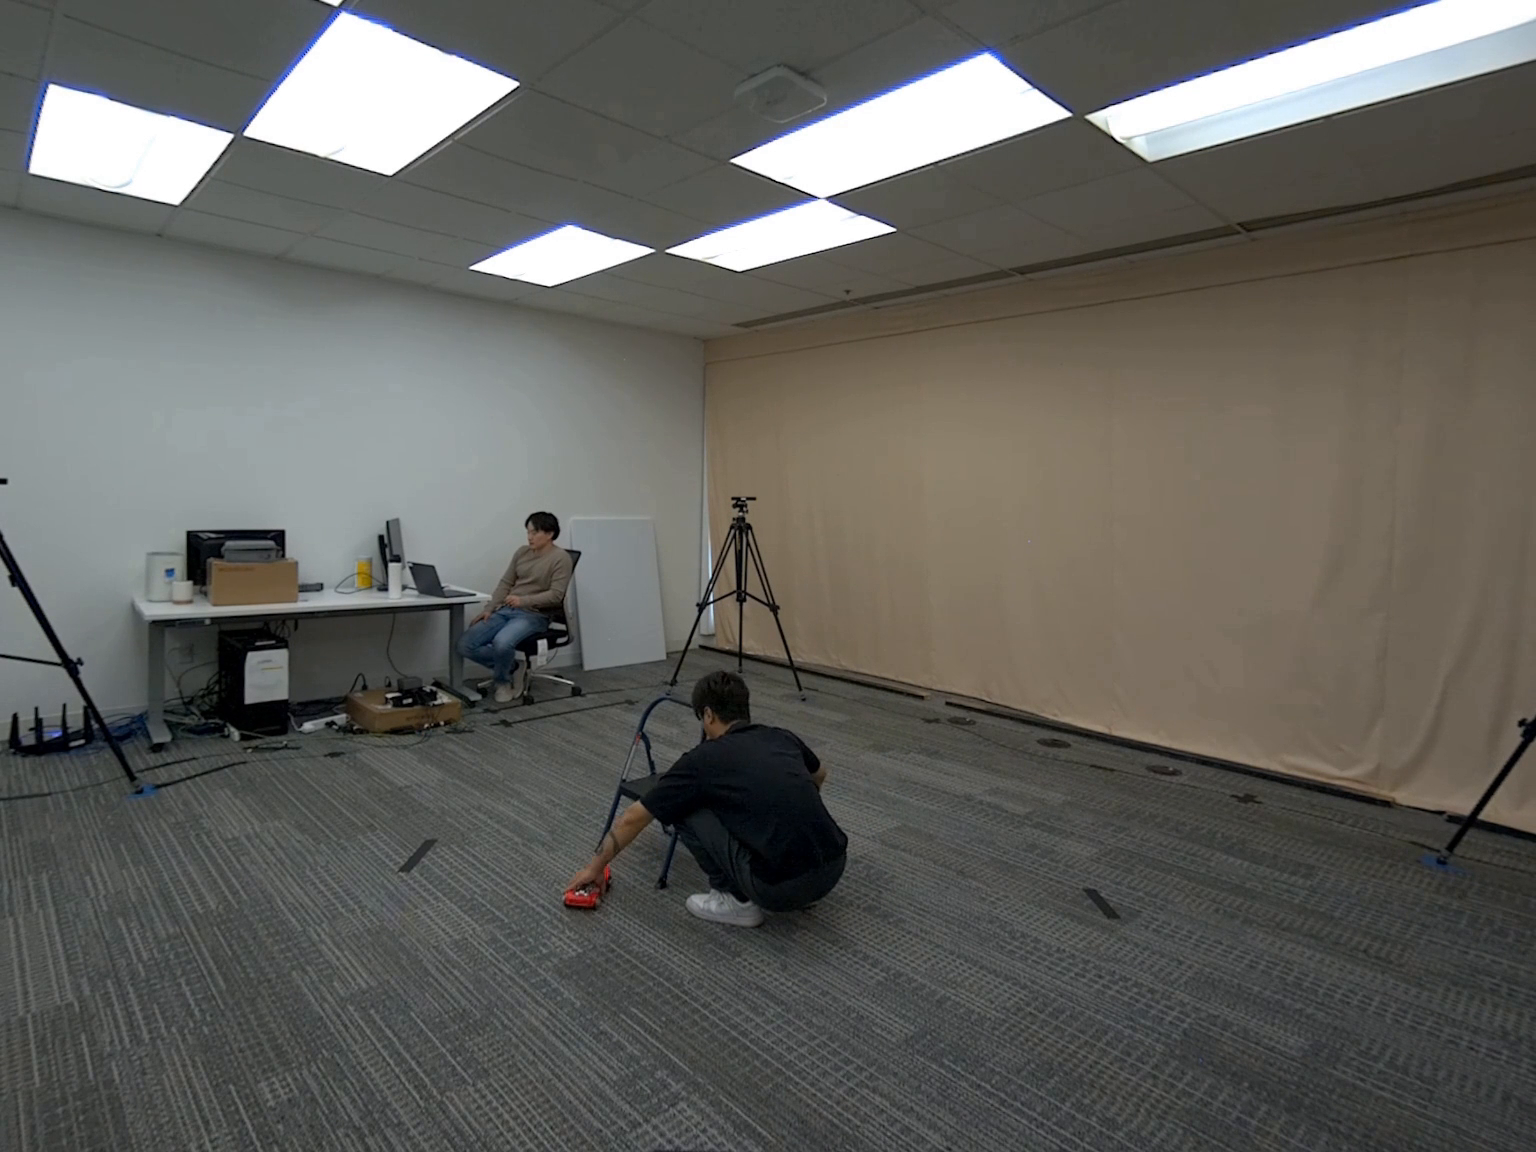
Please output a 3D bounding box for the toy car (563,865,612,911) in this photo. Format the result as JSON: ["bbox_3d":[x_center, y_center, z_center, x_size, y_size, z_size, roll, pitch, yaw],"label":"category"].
[{"bbox_3d":[-0.615,1.085,2.937,0.131,0.082,0.256,1,18,4],"label":"toy car"}]
